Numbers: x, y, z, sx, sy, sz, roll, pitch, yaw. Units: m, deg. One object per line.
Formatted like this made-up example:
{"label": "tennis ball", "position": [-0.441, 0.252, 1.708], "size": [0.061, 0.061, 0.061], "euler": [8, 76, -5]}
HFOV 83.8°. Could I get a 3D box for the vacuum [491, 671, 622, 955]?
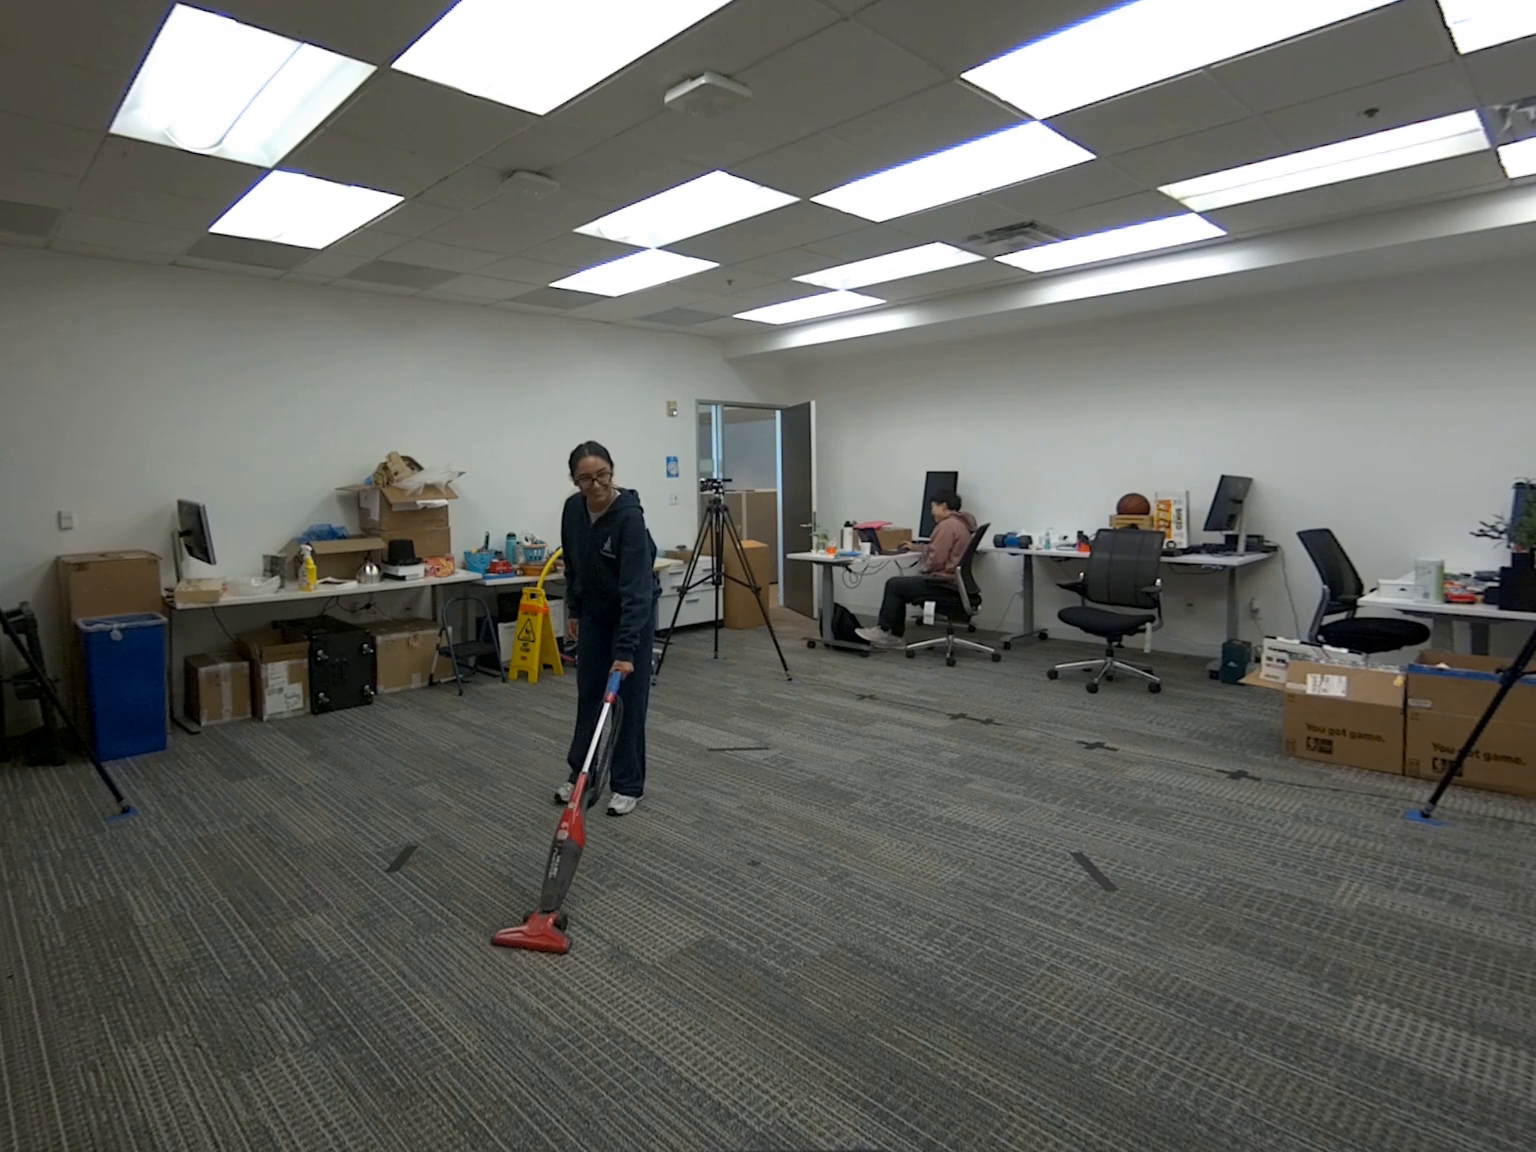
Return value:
{"label": "vacuum", "position": [-0.635, 0.725, 3.005], "size": [0.256, 0.139, 1.071], "euler": [-2, 44, 12]}
